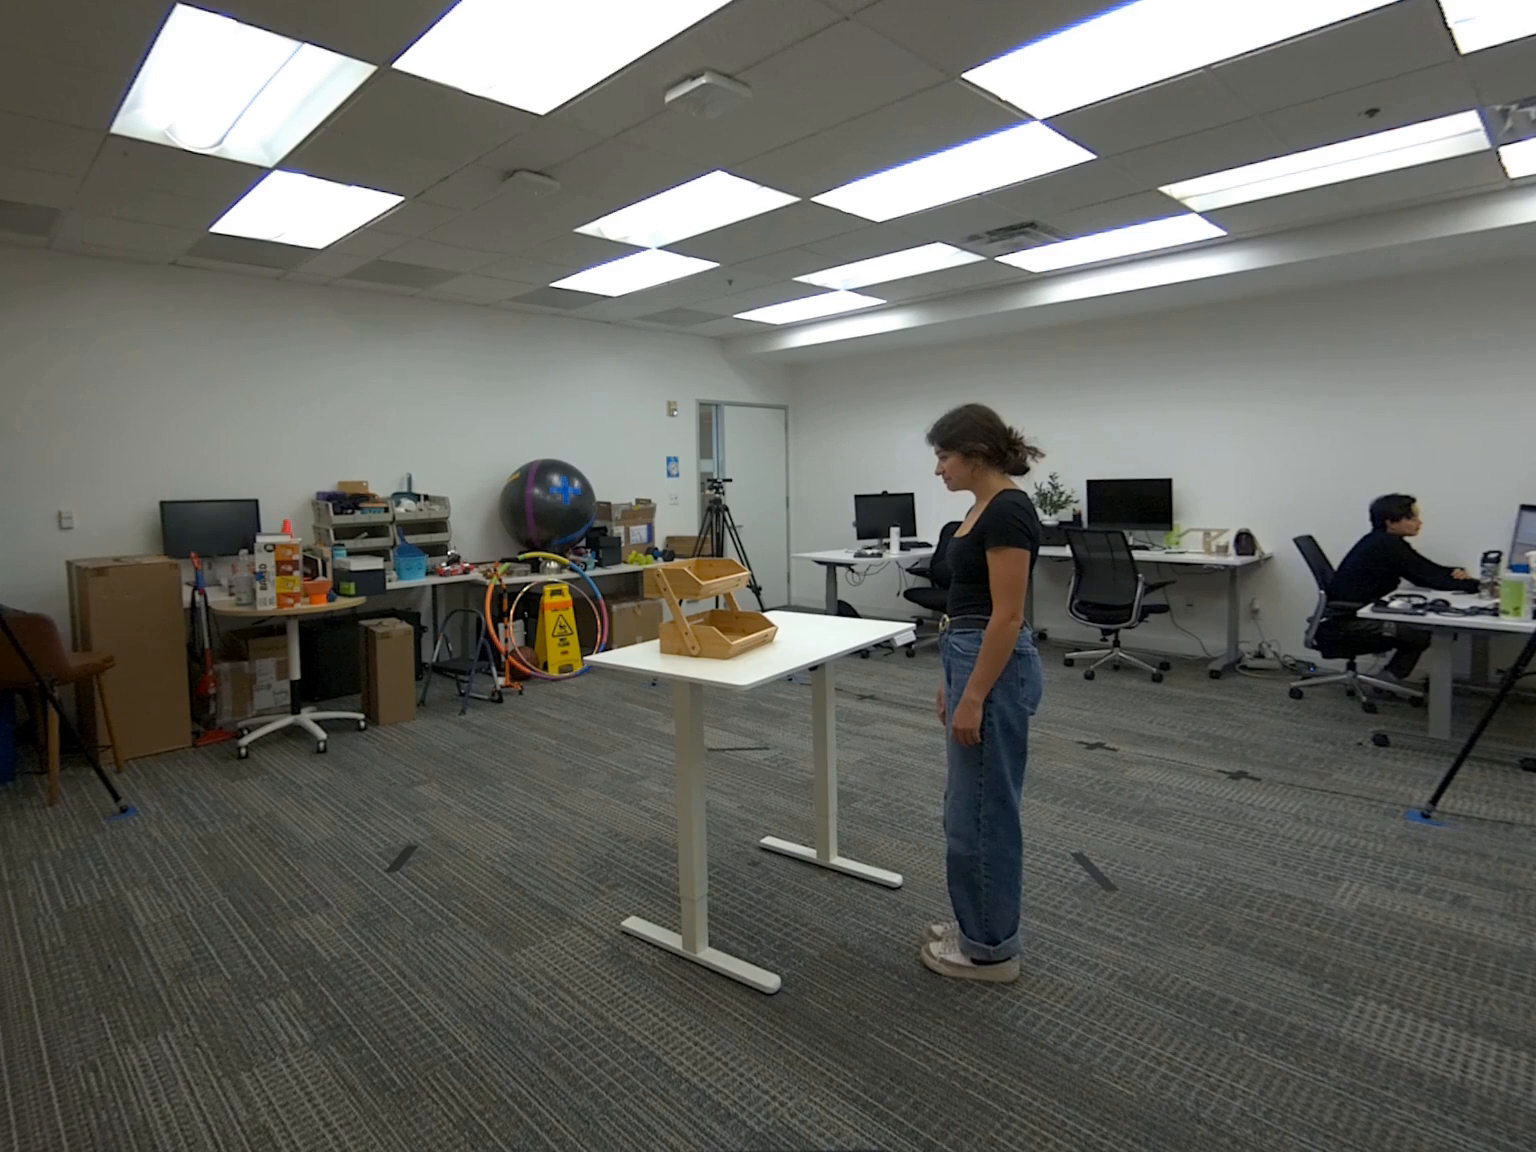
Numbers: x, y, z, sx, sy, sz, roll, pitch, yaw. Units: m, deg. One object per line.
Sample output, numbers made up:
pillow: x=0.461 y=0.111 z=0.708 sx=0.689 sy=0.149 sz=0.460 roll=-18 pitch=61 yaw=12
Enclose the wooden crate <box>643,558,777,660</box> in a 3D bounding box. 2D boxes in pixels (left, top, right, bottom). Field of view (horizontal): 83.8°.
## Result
wooden crate: x=-0.167 y=0.088 z=2.639 sx=0.309 sy=0.272 sz=0.318 roll=0 pitch=5 yaw=28
